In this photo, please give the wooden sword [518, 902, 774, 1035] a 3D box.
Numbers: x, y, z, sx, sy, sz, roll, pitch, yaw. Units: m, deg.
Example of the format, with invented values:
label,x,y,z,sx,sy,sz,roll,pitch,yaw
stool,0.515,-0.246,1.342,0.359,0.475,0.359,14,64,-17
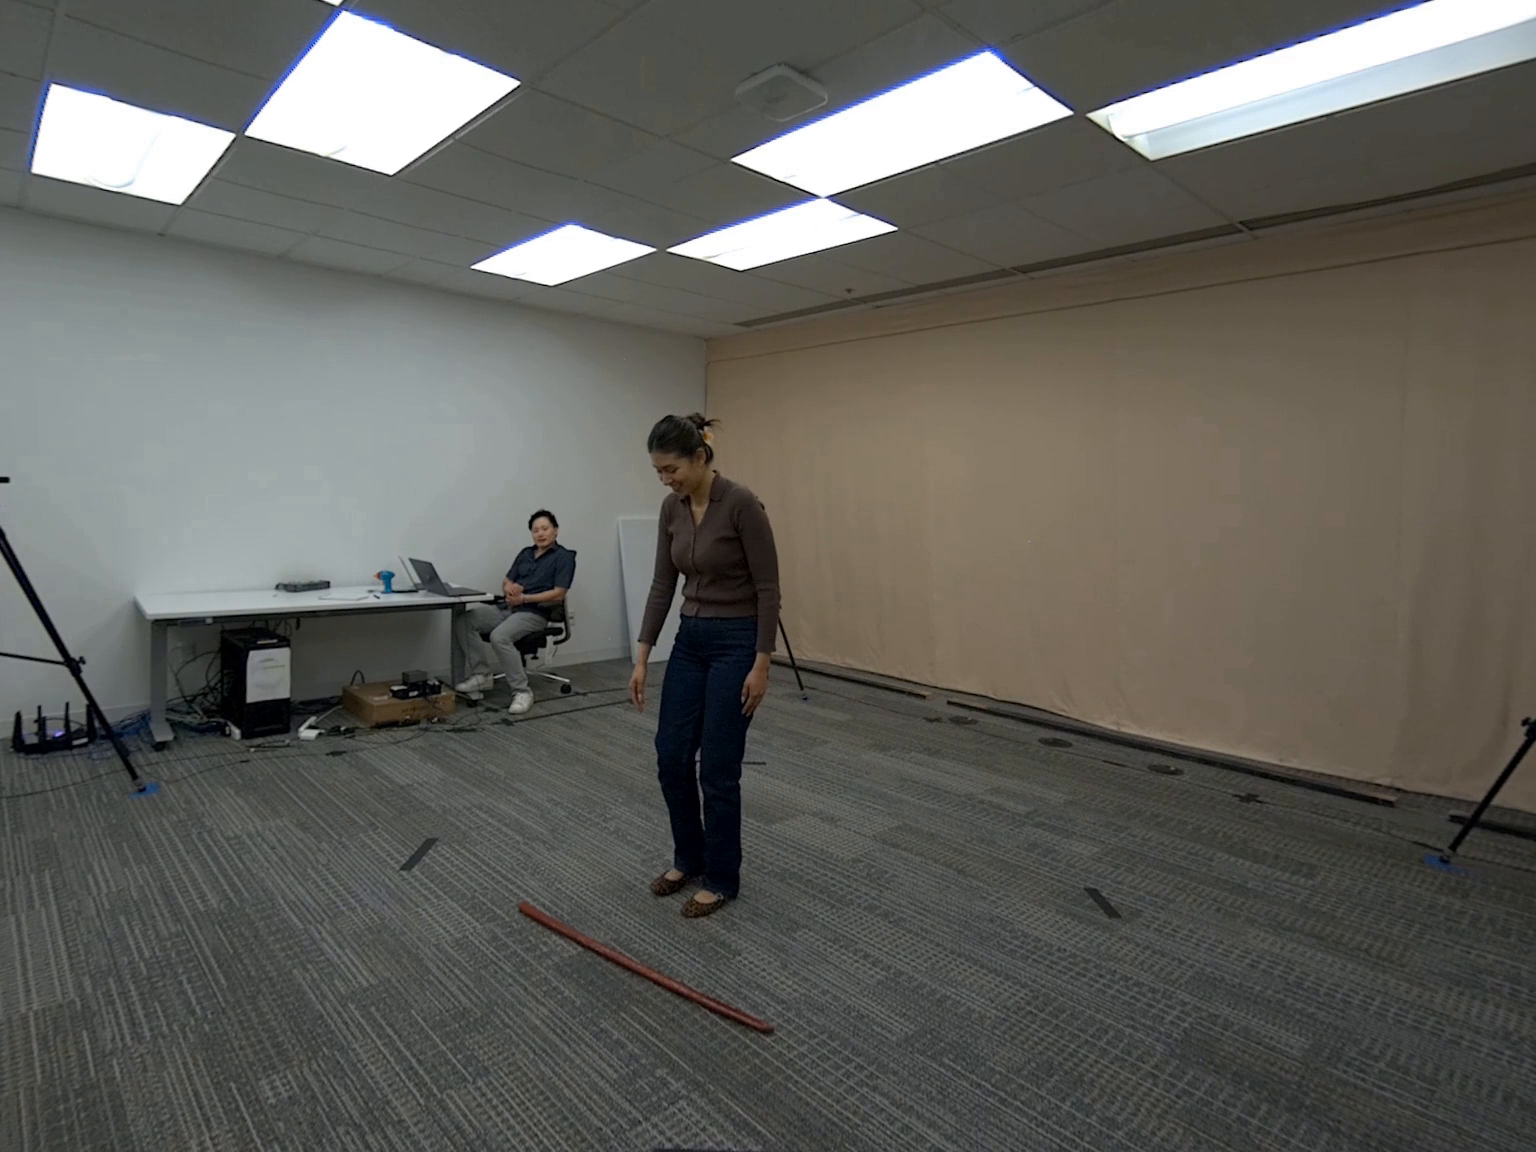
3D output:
label,x,y,z,sx,sy,sz,roll,pitch,yaw
wooden sword,-0.422,1.130,2.504,1.050,0.024,0.050,6,11,38
